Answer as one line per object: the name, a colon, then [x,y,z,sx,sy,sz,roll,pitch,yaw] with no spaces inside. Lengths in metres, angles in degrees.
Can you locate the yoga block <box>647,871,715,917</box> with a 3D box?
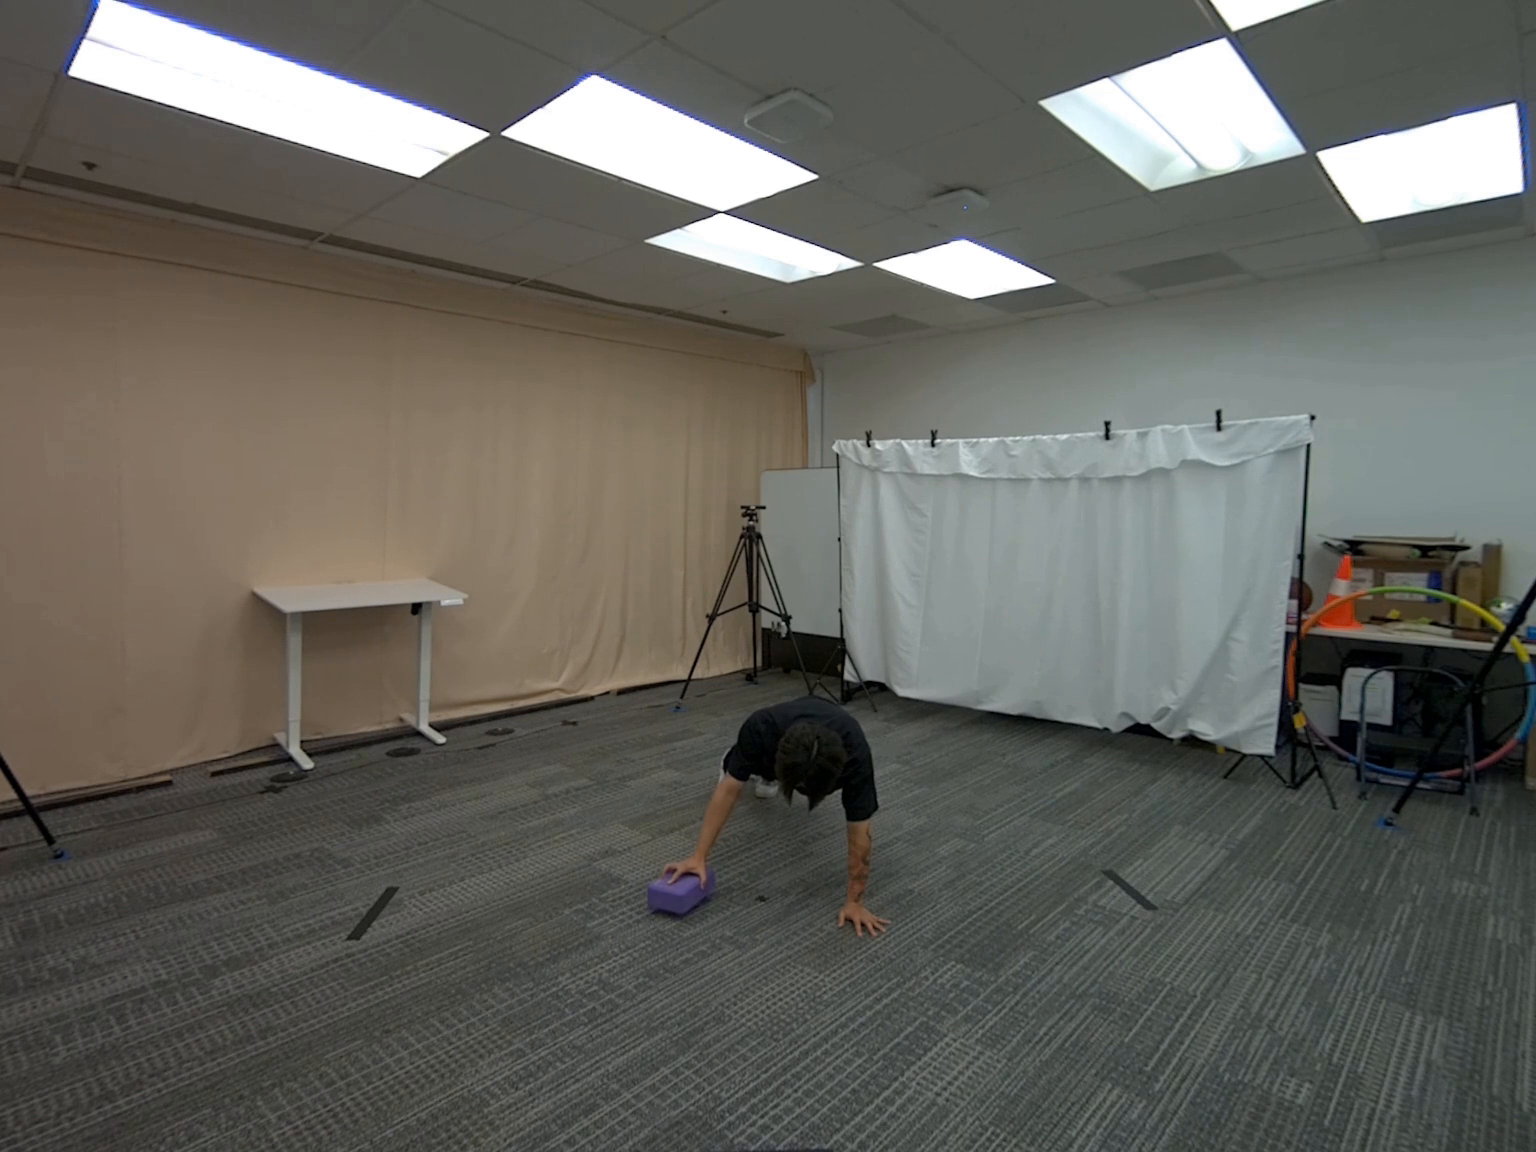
yoga block: [-0.298,1.086,2.936,0.153,0.076,0.223,1,3,27]
